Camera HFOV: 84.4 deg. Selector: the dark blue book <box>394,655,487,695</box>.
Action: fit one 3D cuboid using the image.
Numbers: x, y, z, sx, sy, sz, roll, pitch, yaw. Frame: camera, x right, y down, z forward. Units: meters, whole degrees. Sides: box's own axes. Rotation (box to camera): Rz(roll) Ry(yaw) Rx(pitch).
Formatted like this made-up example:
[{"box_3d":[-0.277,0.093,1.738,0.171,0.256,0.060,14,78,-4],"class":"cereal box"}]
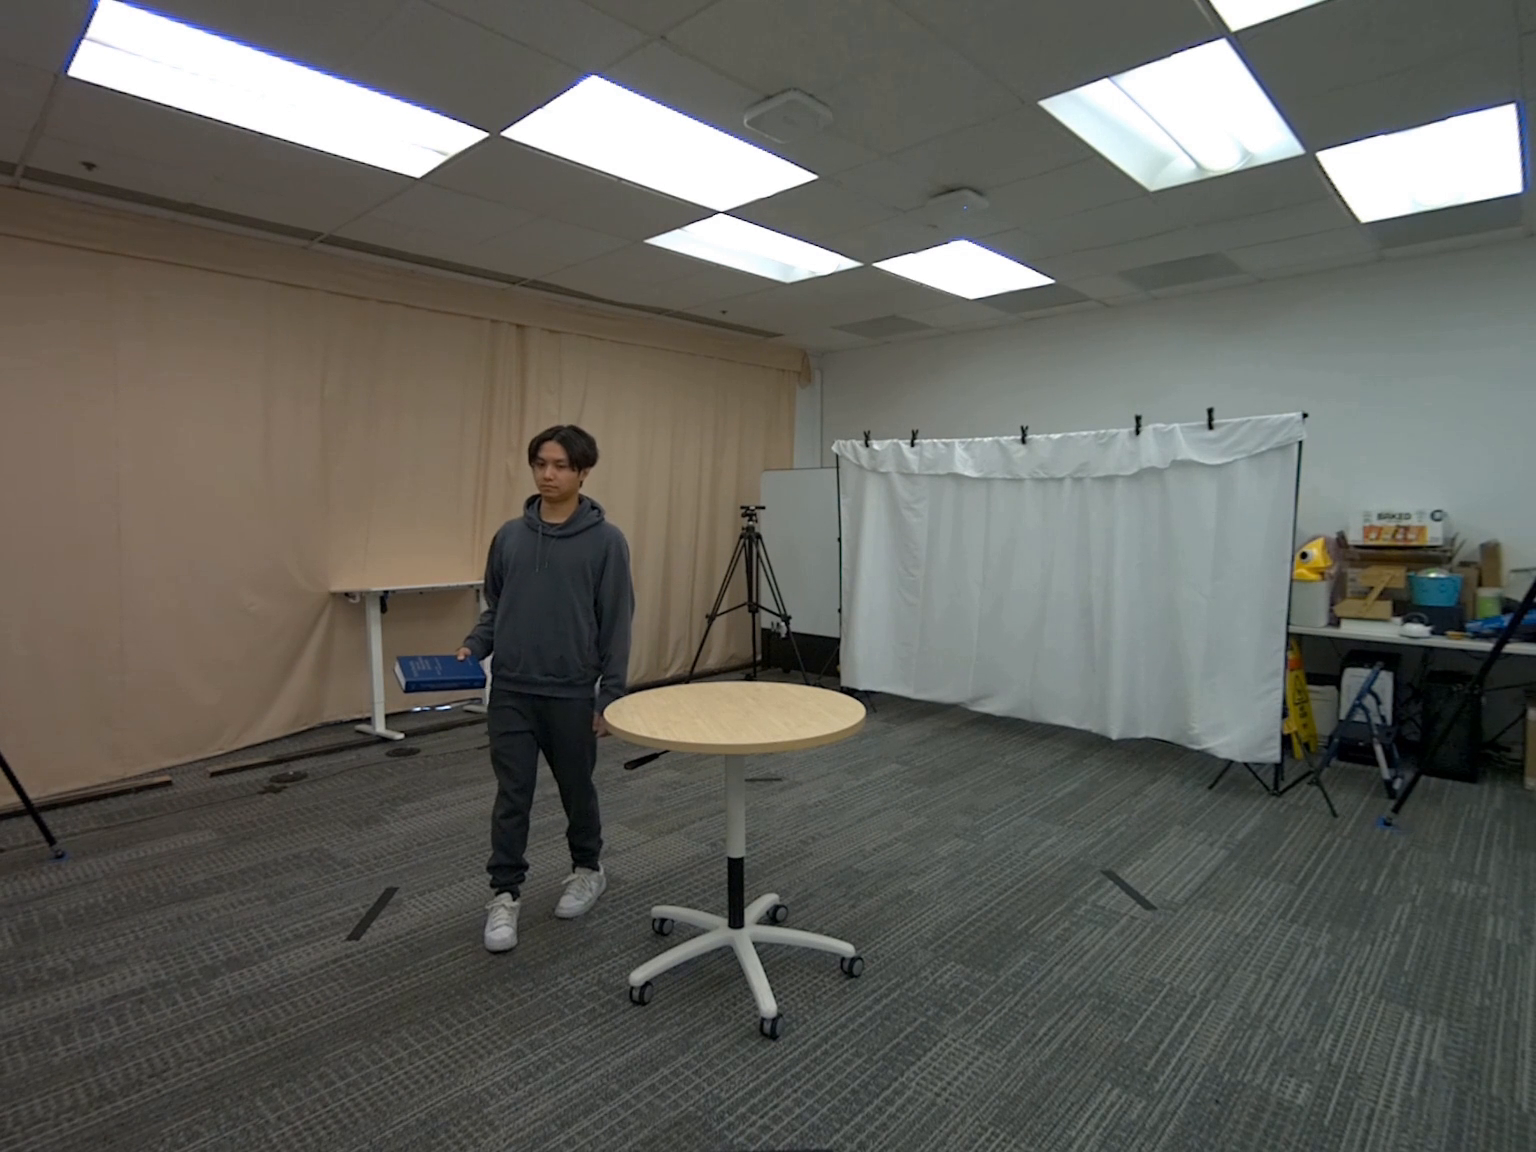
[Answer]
[{"box_3d":[-1.008,0.298,2.593,0.238,0.045,0.169,2,19,-32],"class":"dark blue book"}]
